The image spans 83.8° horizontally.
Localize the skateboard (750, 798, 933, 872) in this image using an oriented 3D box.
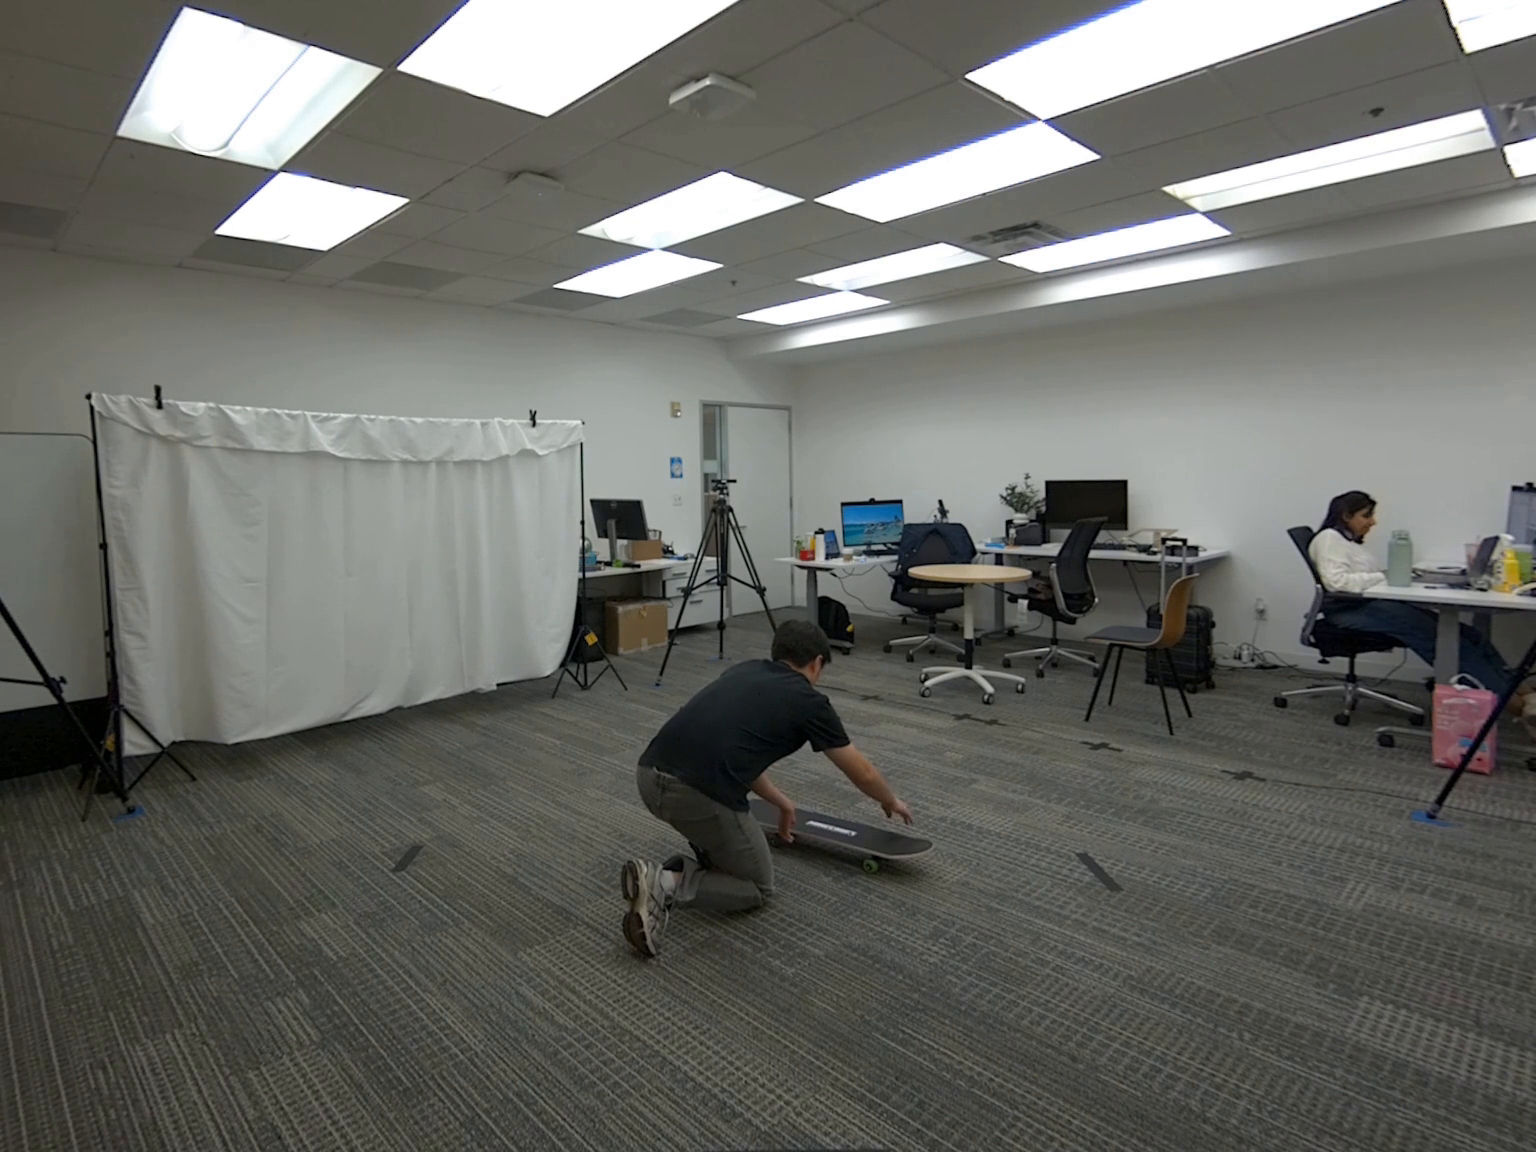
[{"bbox_3d":[0.235,0.972,3.191,0.808,0.110,0.189,3,7,35],"label":"skateboard"}]
